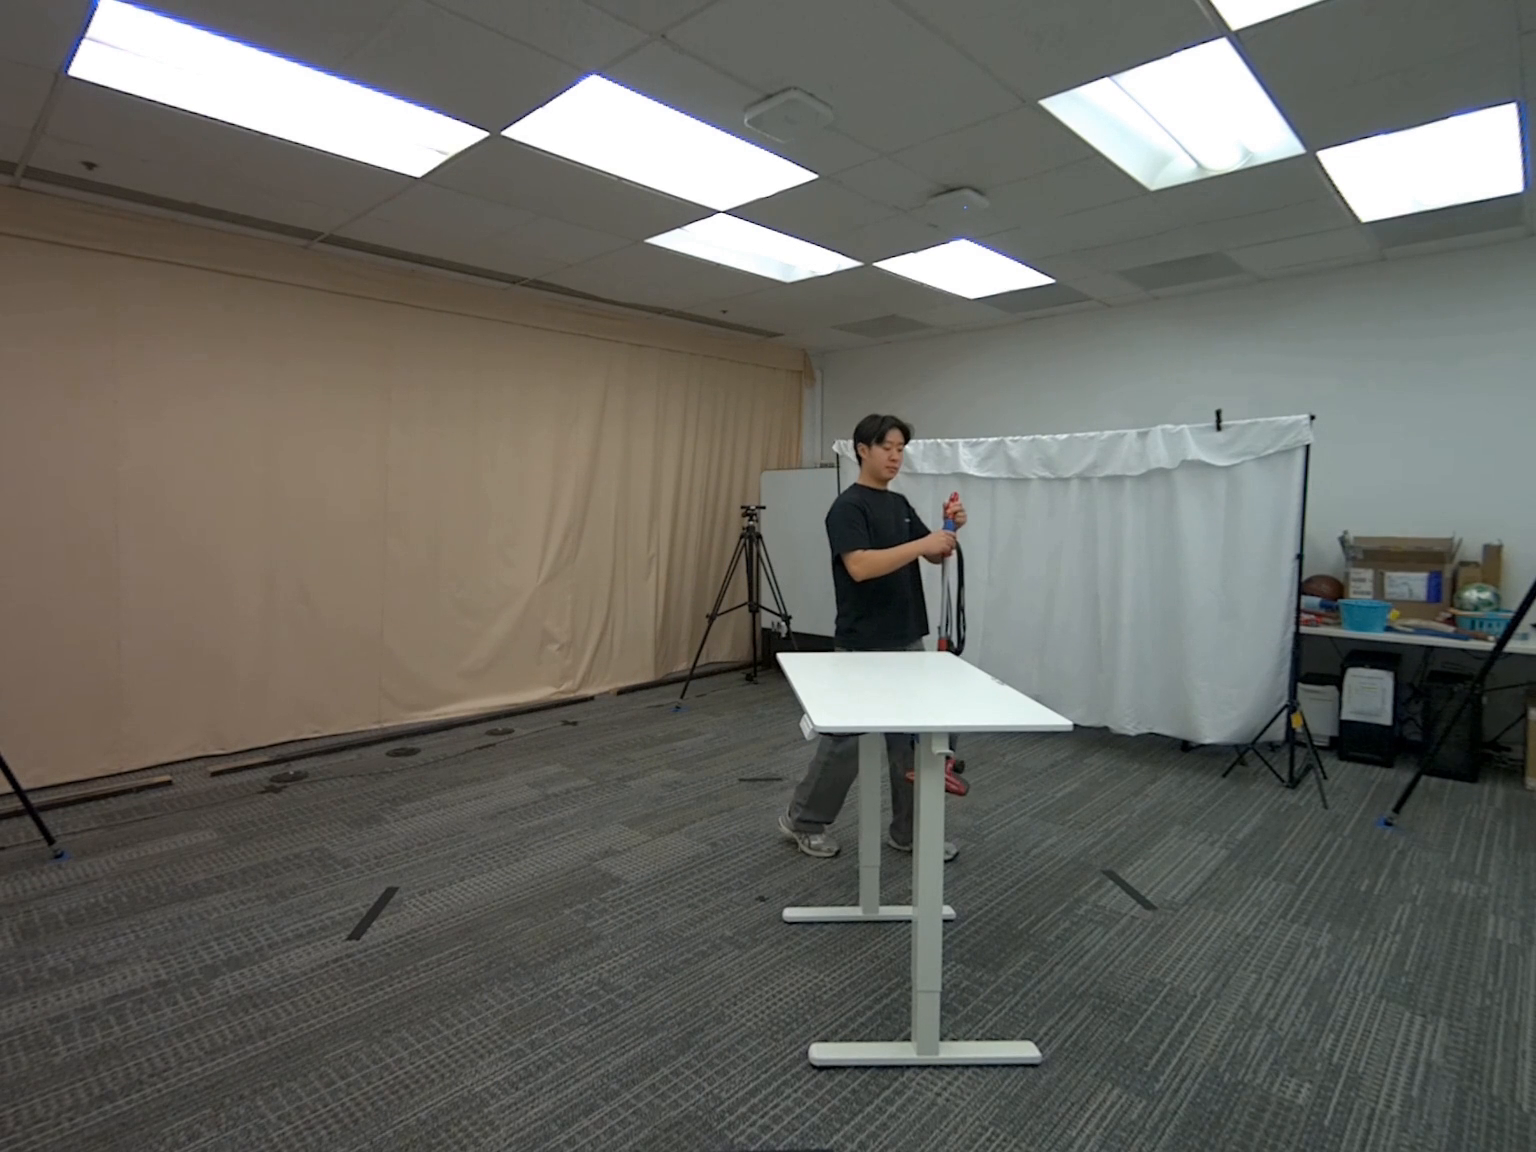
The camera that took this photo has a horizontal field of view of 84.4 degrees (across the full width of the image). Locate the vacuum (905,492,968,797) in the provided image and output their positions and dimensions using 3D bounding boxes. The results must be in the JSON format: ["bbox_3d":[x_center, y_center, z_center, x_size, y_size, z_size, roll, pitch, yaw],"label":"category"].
[{"bbox_3d":[0.695,0.235,3.154,0.261,1.049,0.139,6,1,39],"label":"vacuum"}]
